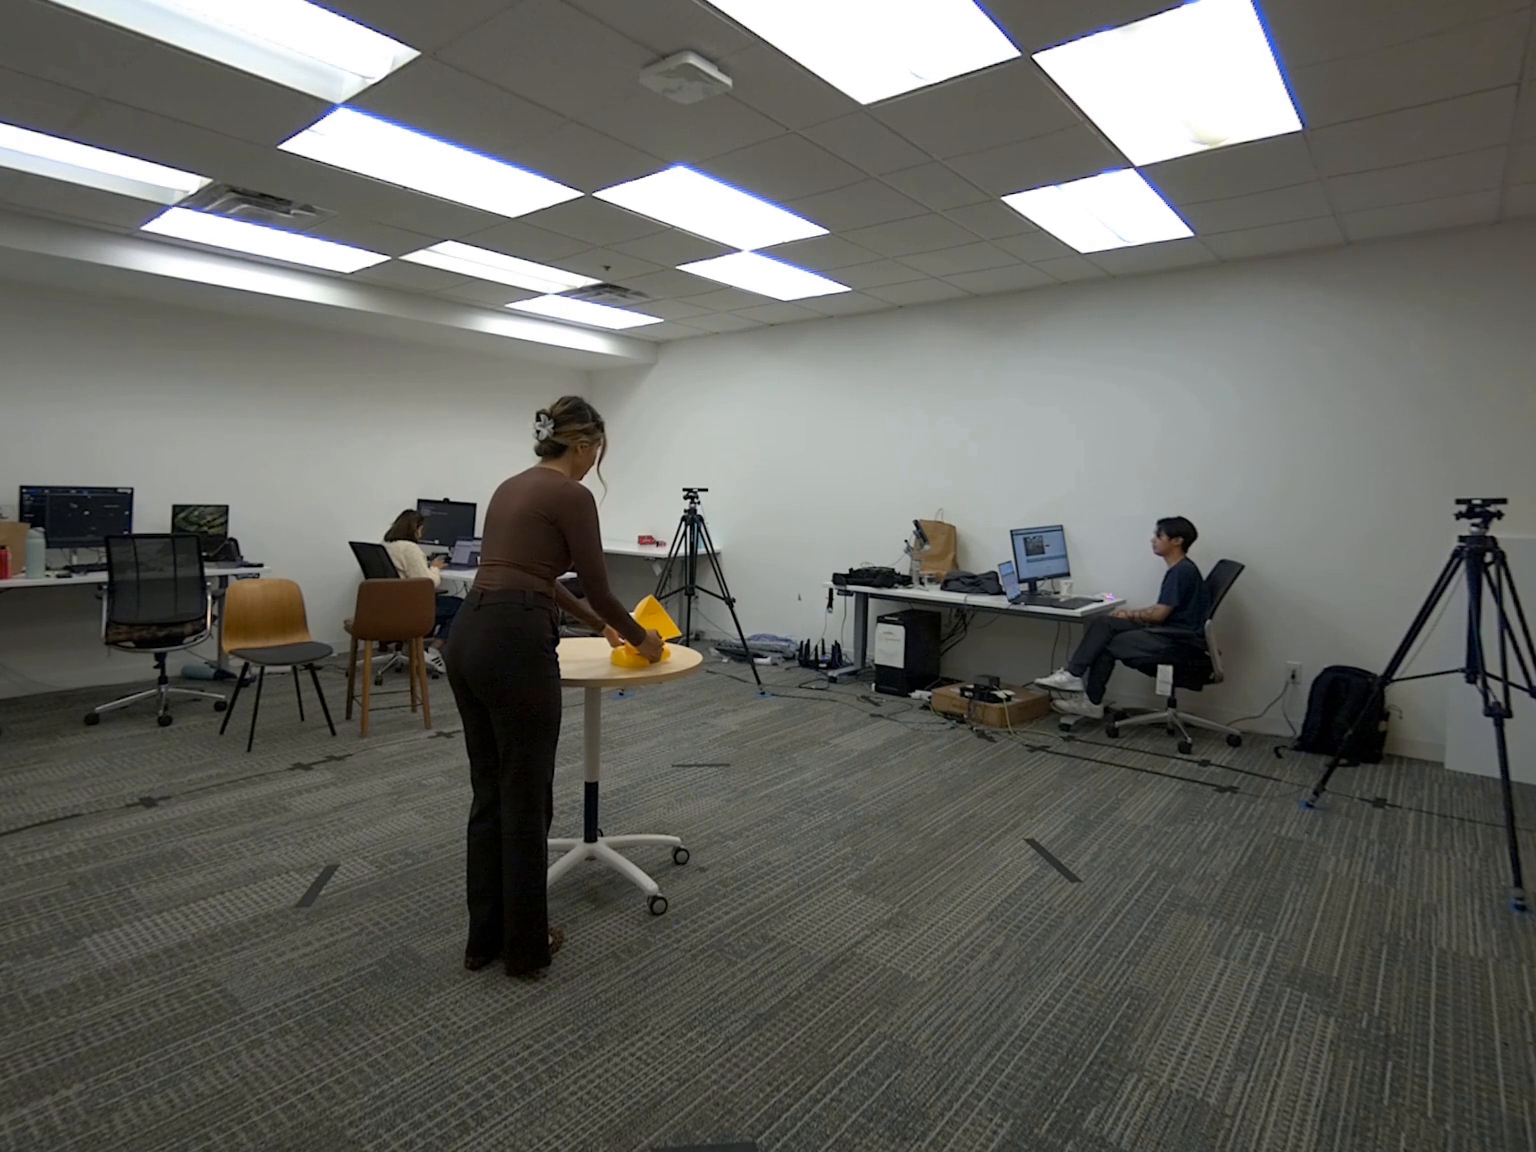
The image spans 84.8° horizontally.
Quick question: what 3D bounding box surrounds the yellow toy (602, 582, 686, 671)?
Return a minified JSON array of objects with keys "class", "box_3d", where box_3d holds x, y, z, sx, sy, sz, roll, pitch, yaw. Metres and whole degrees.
[{"class":"yellow toy","box_3d":[-0.428,0.164,2.852,0.199,0.228,0.200,-11,14,-43]}]
